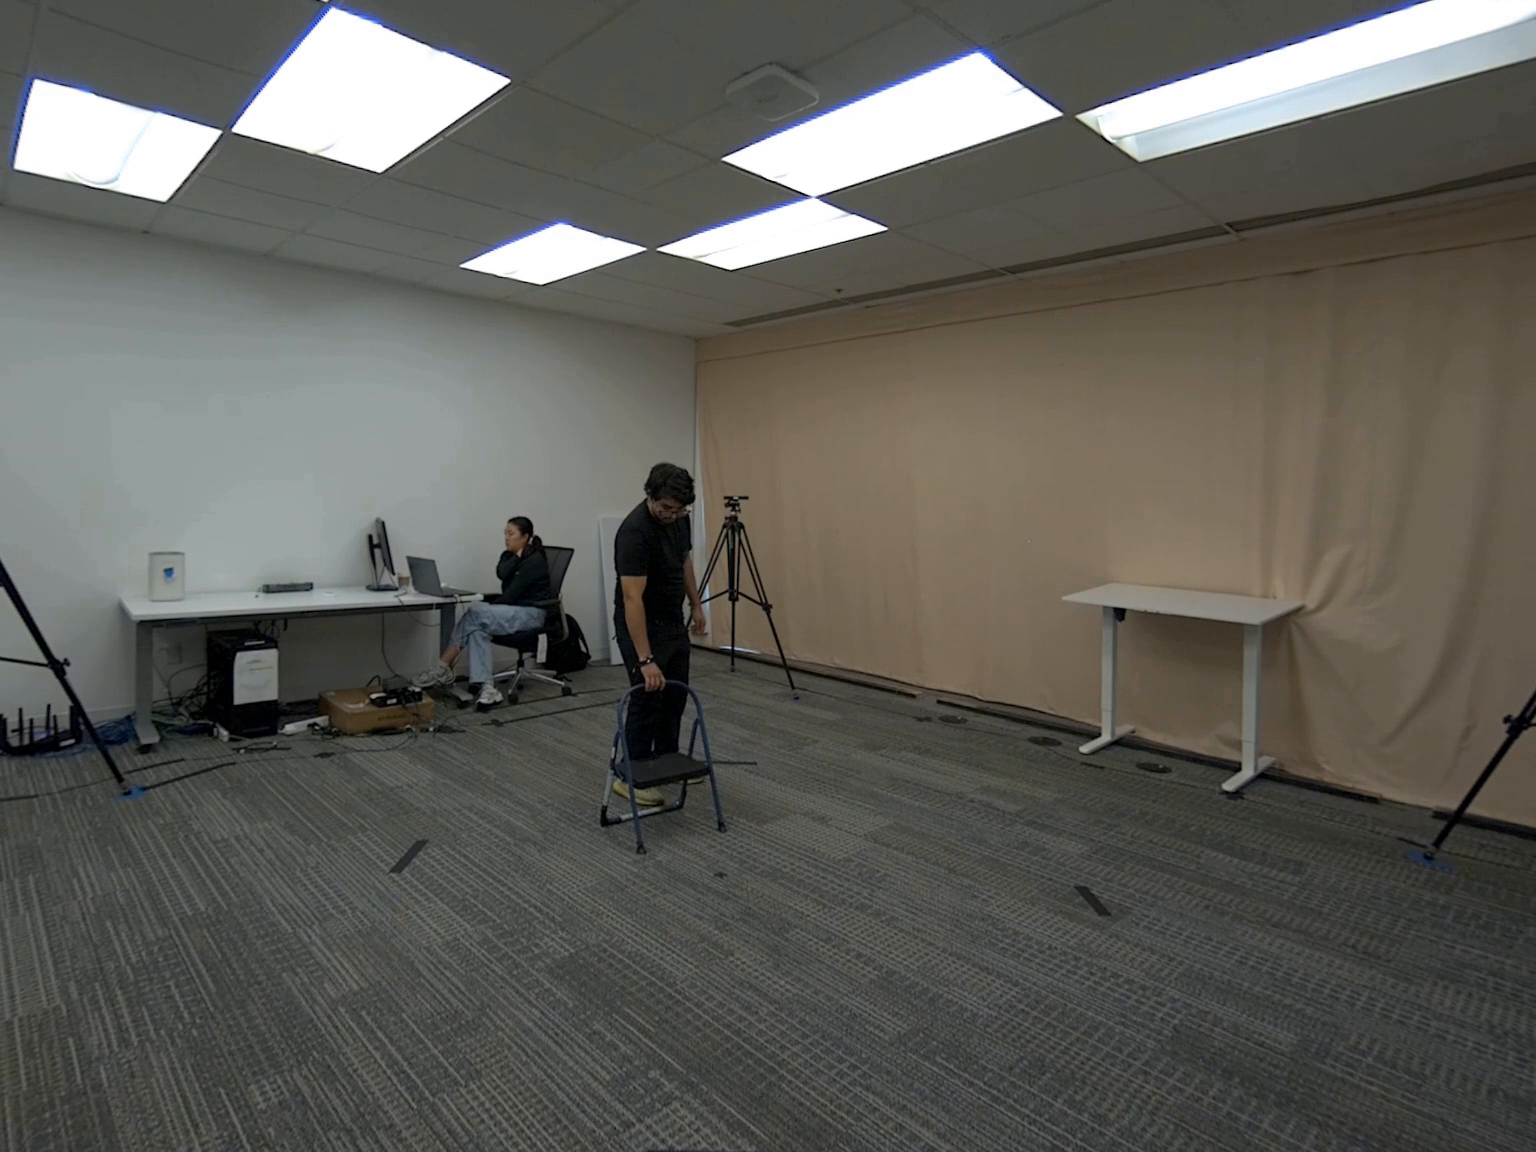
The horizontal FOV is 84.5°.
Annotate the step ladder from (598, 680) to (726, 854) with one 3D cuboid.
[{"bbox_3d":[-0.436,0.760,3.516,0.421,0.605,0.358,-1,4,-40],"label":"step ladder"}]
